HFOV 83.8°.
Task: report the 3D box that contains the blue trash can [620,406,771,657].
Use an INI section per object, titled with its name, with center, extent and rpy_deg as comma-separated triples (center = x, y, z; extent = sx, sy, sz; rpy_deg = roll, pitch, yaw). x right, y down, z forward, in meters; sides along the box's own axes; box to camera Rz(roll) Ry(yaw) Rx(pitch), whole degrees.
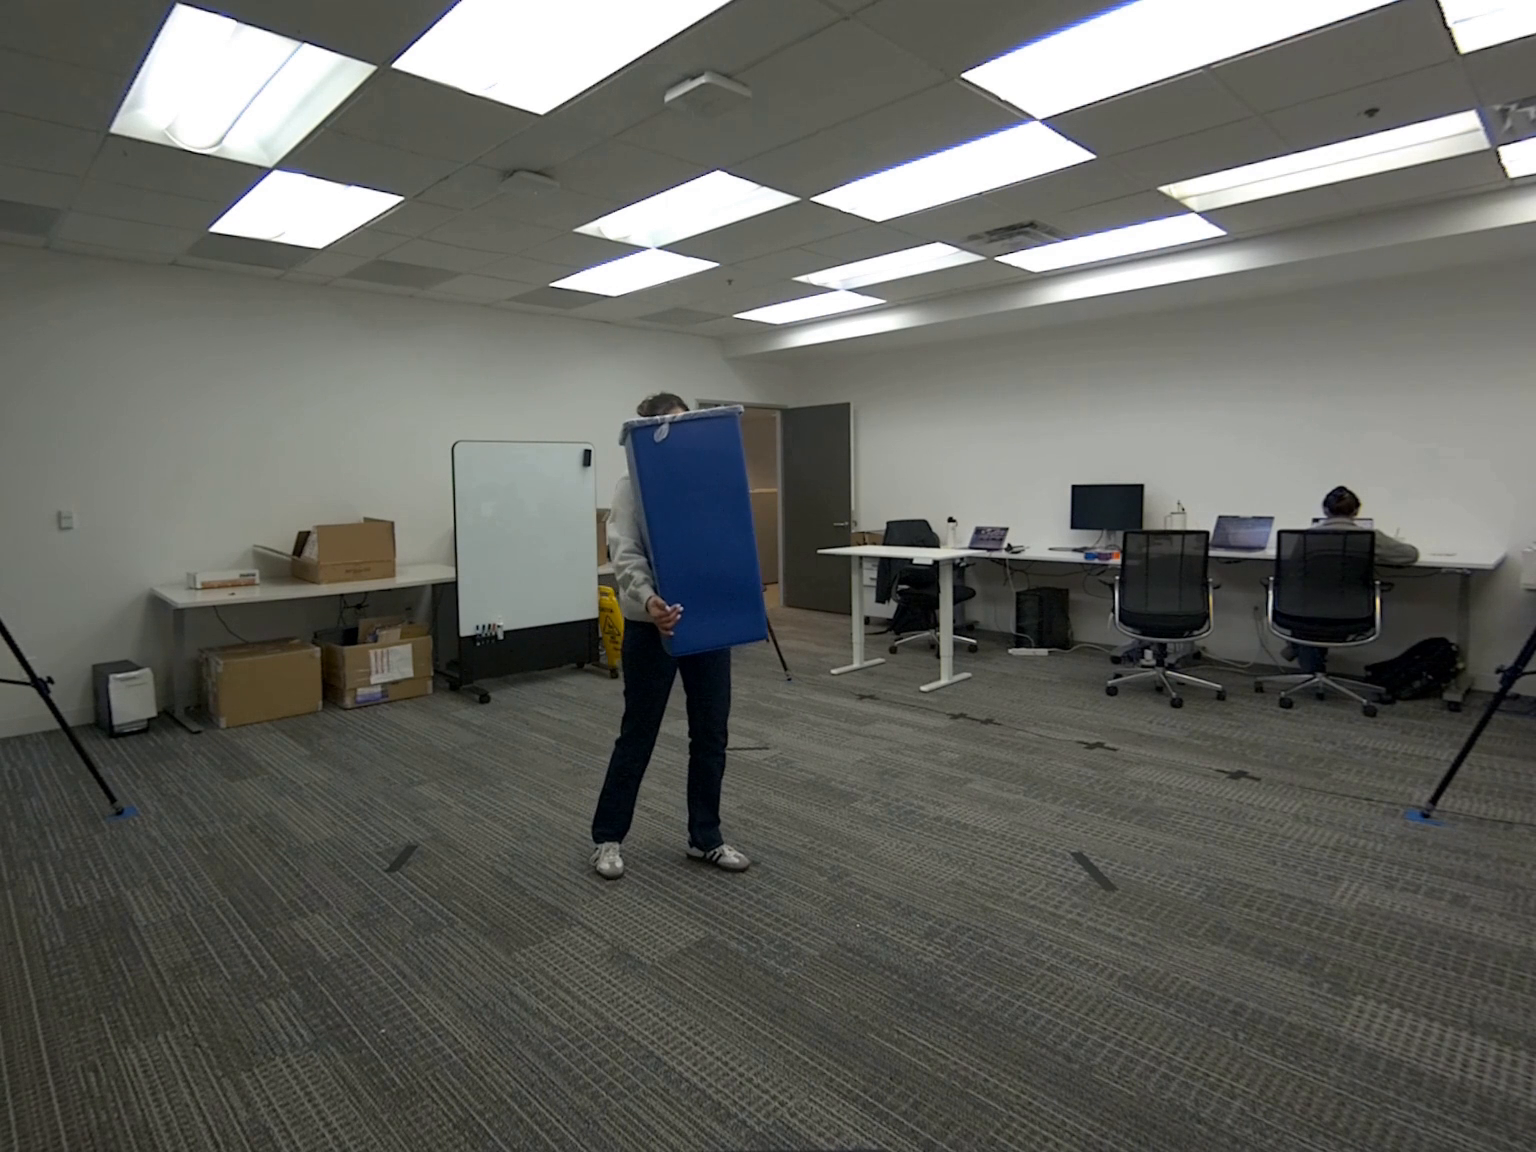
[blue trash can]
center = -0.232, -0.142, 2.715
extent = 0.375, 0.714, 0.377
rpy_deg = -8, 0, -10
